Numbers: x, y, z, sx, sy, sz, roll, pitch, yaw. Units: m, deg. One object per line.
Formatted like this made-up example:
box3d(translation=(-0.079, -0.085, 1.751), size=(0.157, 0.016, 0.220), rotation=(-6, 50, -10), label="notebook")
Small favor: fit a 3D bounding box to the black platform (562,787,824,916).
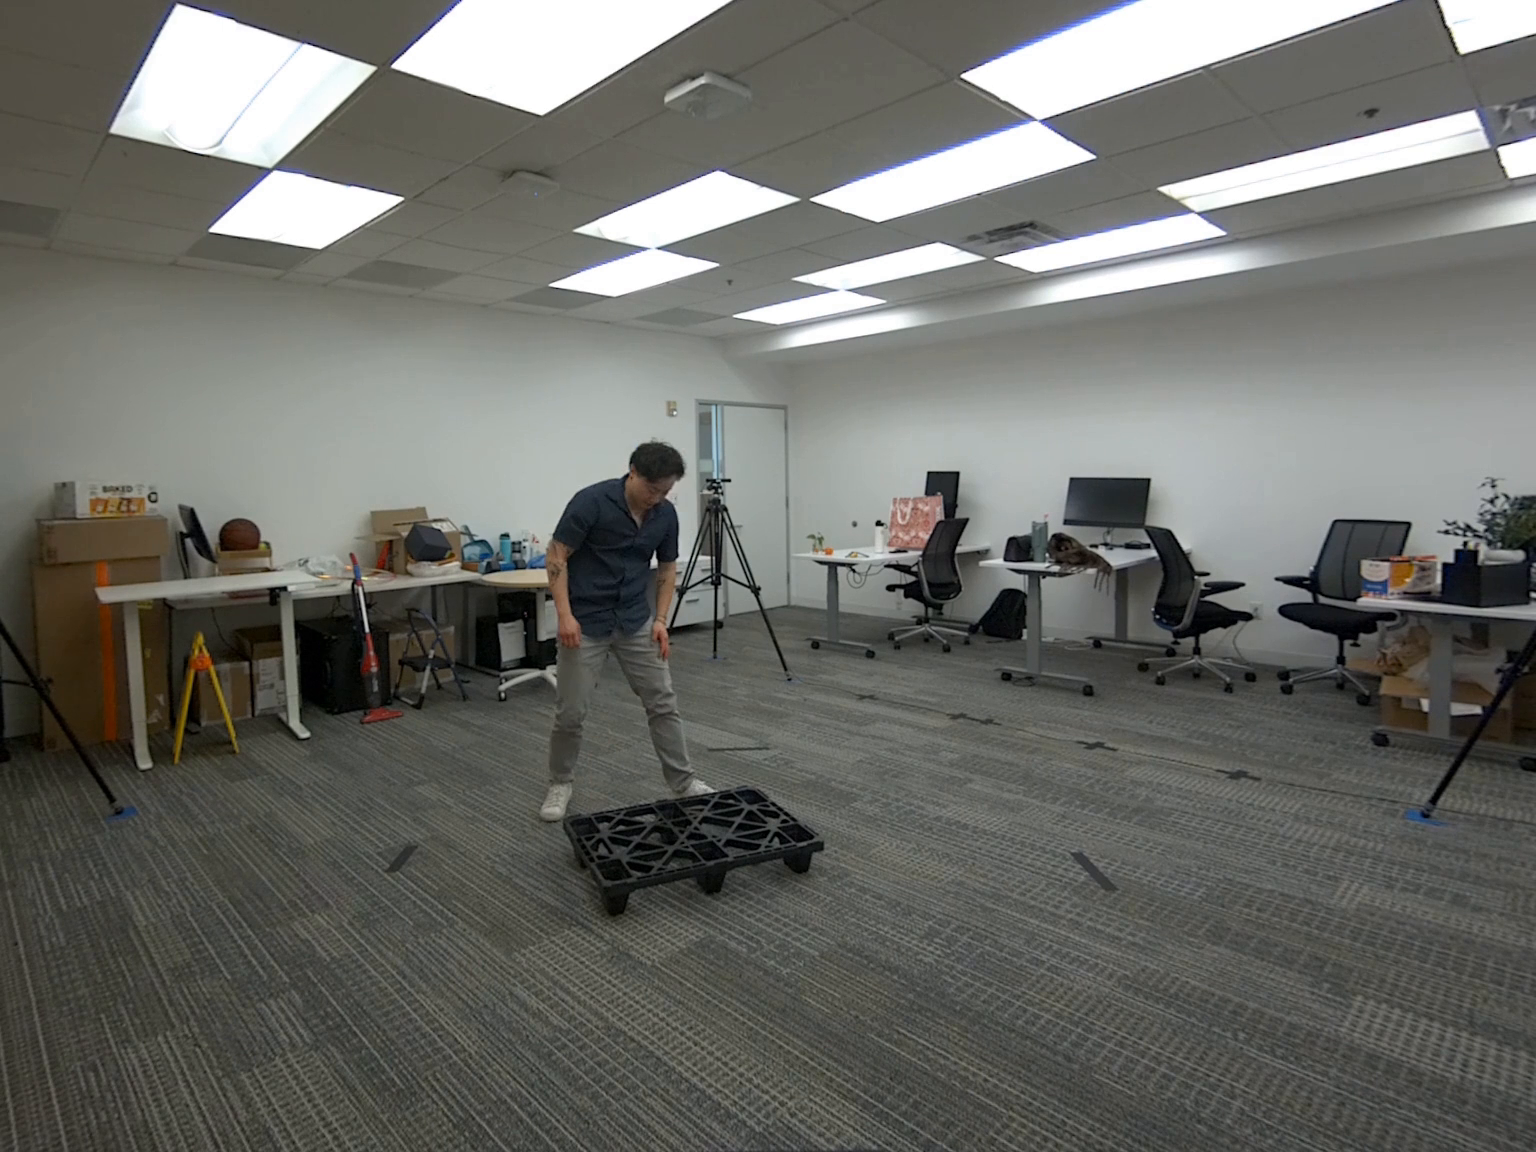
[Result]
box3d(translation=(-0.288, 0.984, 3.101), size=(0.789, 0.143, 0.620), rotation=(-4, 6, -24), label="black platform")
